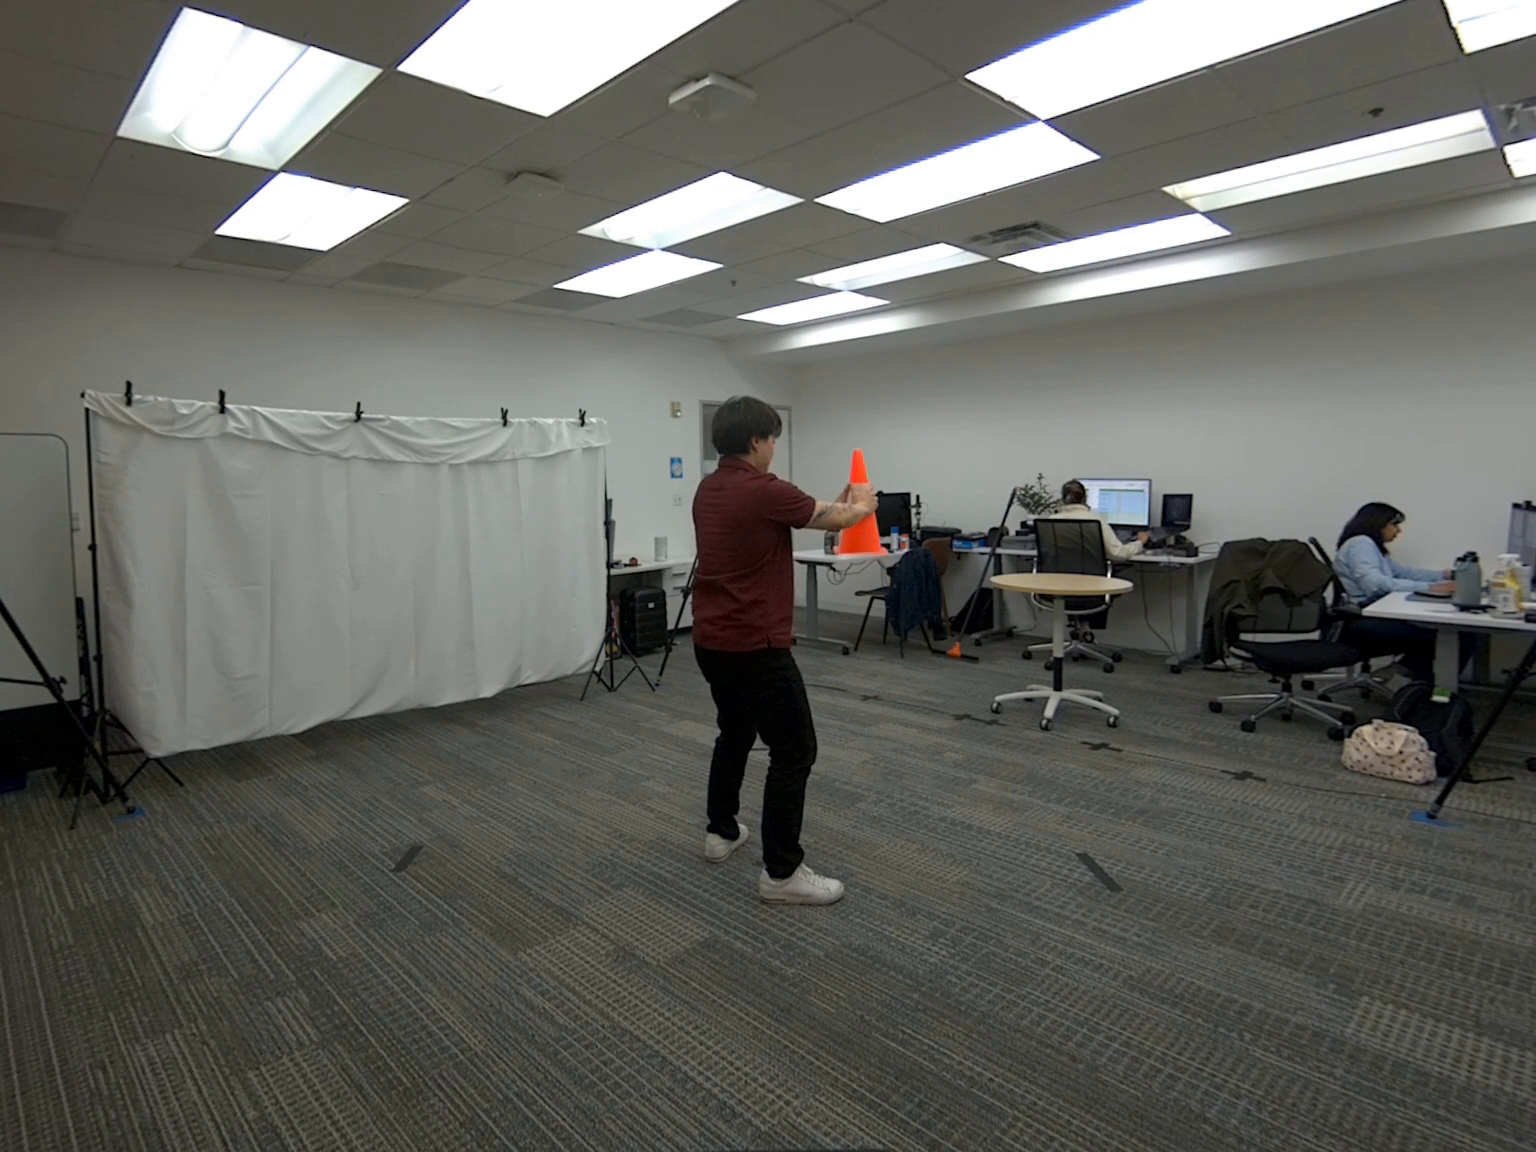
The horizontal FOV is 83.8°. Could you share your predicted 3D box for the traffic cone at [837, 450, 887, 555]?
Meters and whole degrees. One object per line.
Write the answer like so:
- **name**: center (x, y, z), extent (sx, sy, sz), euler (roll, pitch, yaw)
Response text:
- **traffic cone**: center (0.349, -0.277, 3.233), extent (0.201, 0.381, 0.208), euler (-5, 6, -12)
